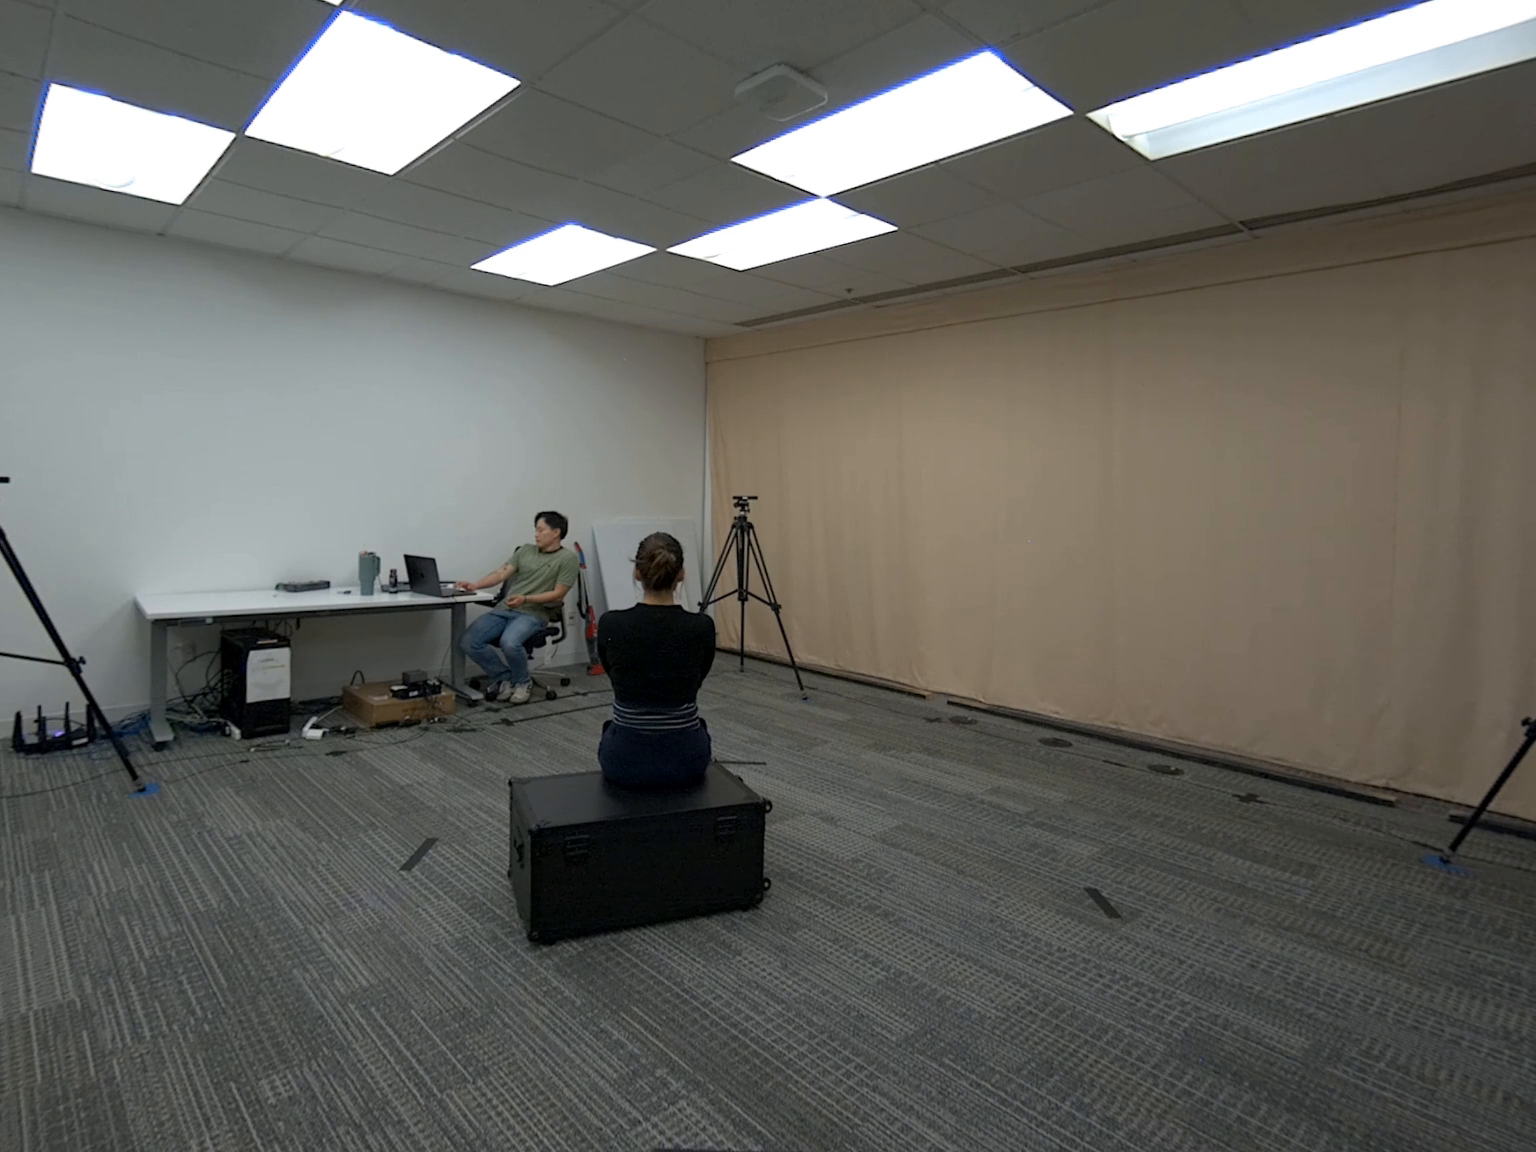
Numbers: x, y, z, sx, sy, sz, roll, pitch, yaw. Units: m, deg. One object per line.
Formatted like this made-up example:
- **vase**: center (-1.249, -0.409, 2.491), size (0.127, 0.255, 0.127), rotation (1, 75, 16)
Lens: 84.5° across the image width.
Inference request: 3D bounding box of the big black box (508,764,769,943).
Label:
- **big black box**: center (-0.498, 0.924, 2.900), size (0.847, 0.395, 0.532), rotation (-1, 5, -24)
